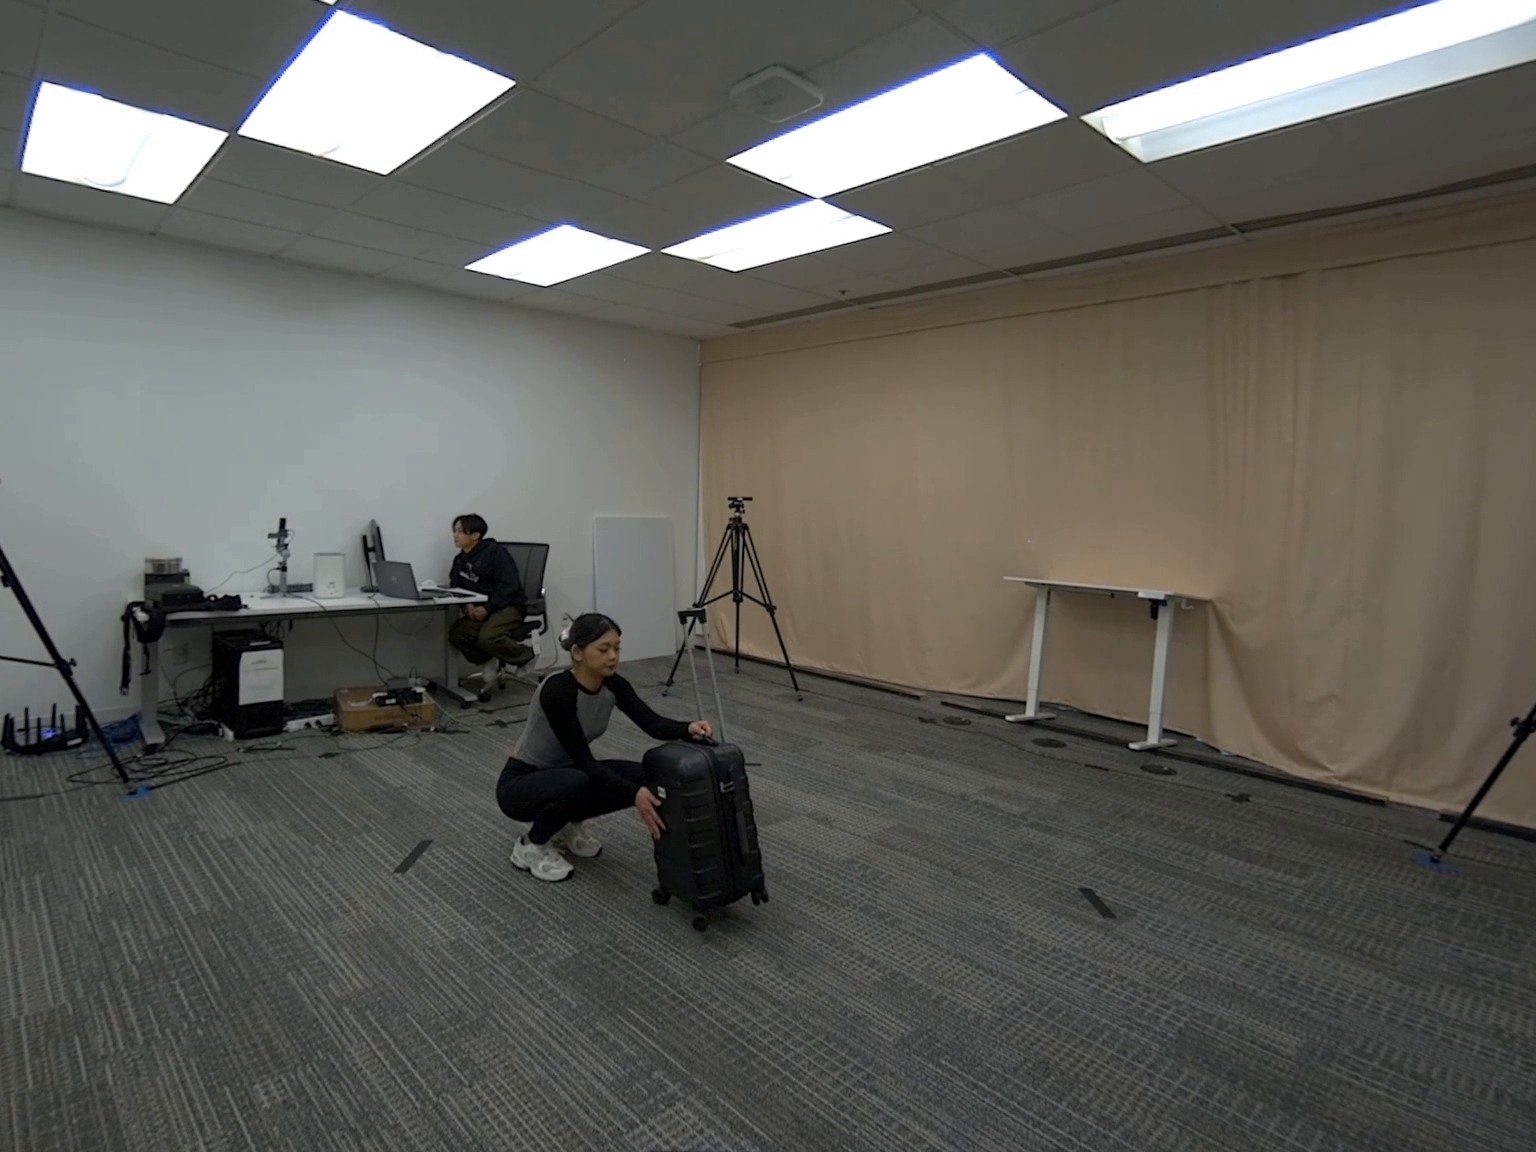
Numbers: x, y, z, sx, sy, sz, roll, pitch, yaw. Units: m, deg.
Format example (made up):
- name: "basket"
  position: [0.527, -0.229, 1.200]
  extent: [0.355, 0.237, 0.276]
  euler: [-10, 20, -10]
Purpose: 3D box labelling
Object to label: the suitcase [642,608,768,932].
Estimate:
- name: "suitcase"
  position: [-0.267, 0.629, 2.800]
  extent: [0.252, 0.979, 0.390]
  euler: [-10, 0, -32]
